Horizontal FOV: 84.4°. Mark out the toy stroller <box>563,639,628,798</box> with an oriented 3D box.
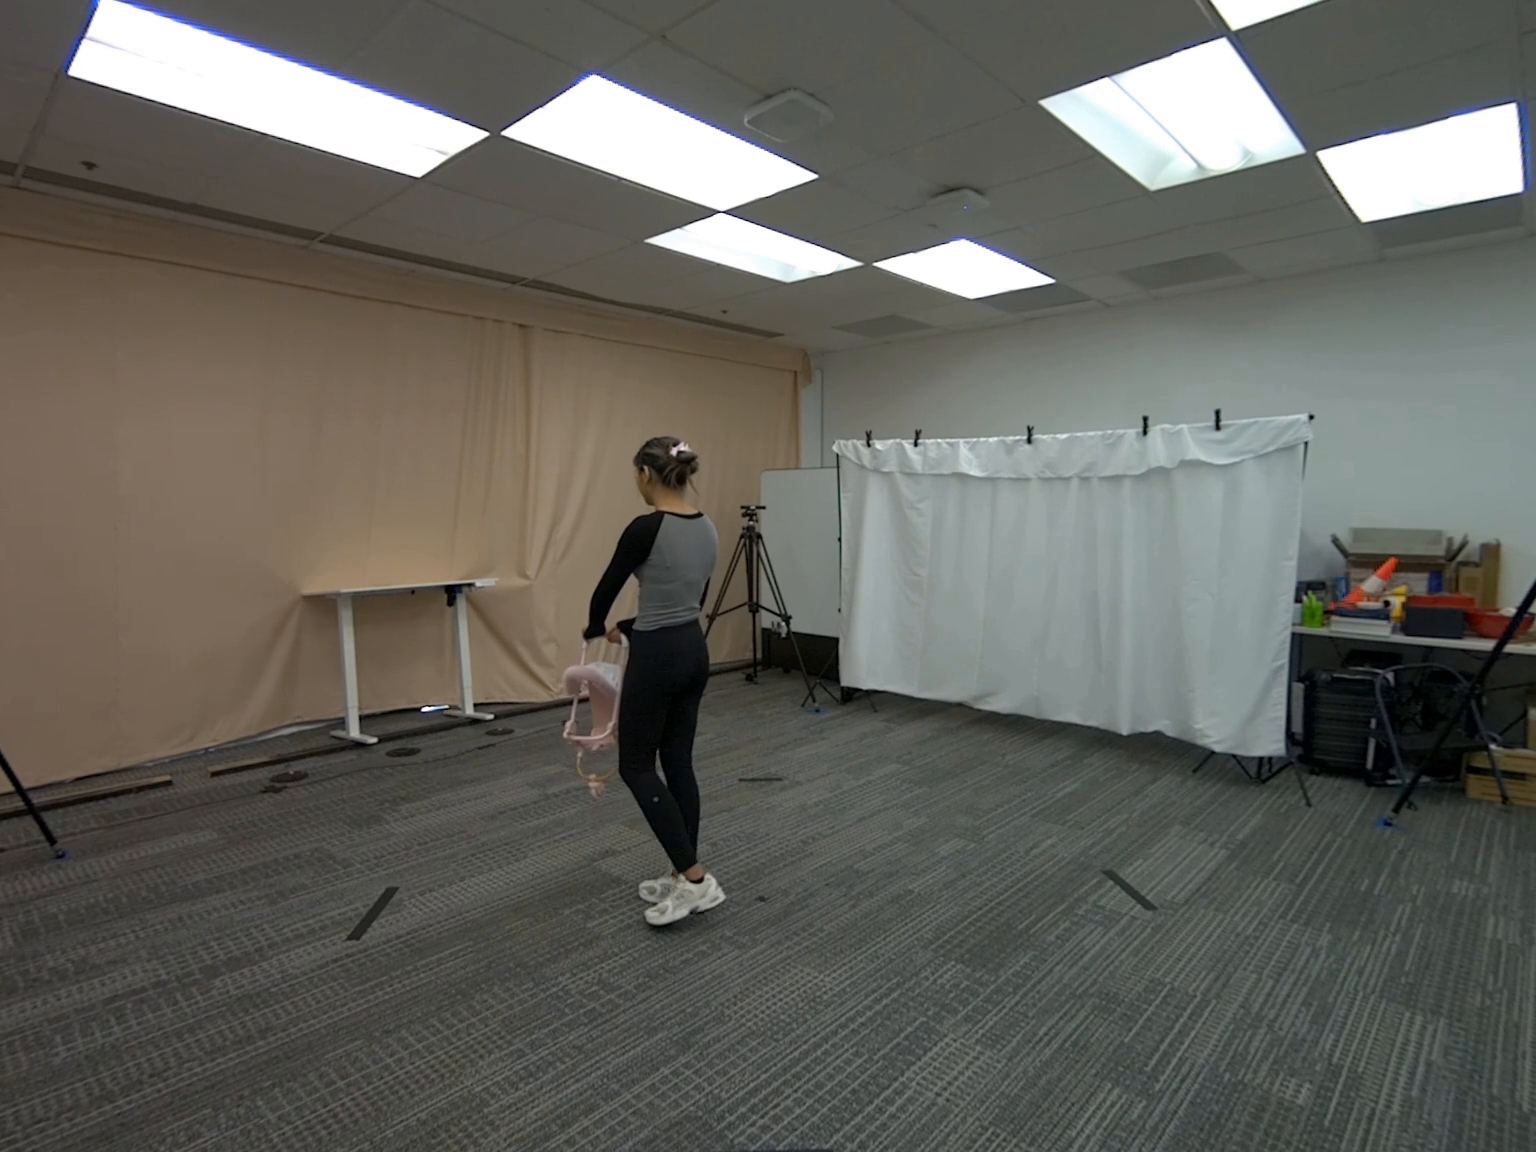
[{"bbox_3d":[-0.624,0.526,3.134,0.289,0.528,0.336,-3,17,30],"label":"toy stroller"}]
